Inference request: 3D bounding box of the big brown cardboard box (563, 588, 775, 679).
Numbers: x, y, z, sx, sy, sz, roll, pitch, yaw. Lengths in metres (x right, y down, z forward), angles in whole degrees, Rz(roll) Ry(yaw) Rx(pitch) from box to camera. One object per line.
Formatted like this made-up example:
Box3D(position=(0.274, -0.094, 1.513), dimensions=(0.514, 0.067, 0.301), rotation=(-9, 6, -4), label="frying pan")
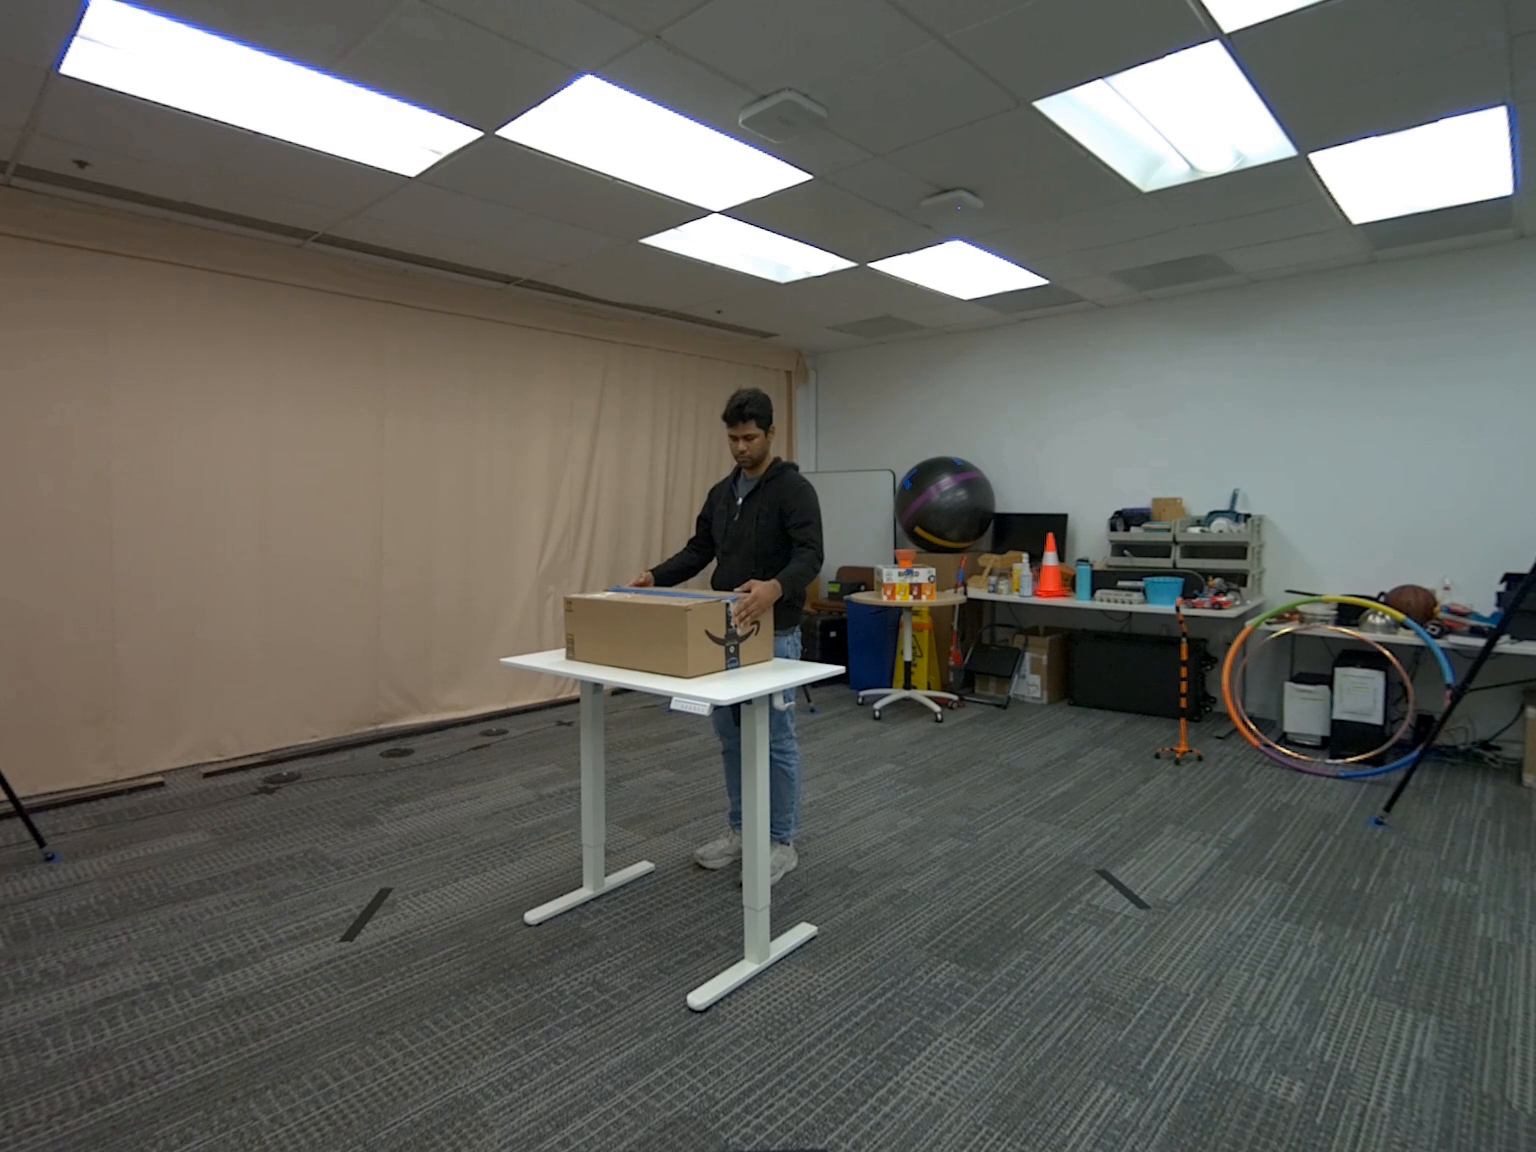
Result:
Box3D(position=(-0.330, 0.164, 2.812), dimensions=(0.608, 0.232, 0.405), rotation=(4, 6, 39), label="big brown cardboard box")
